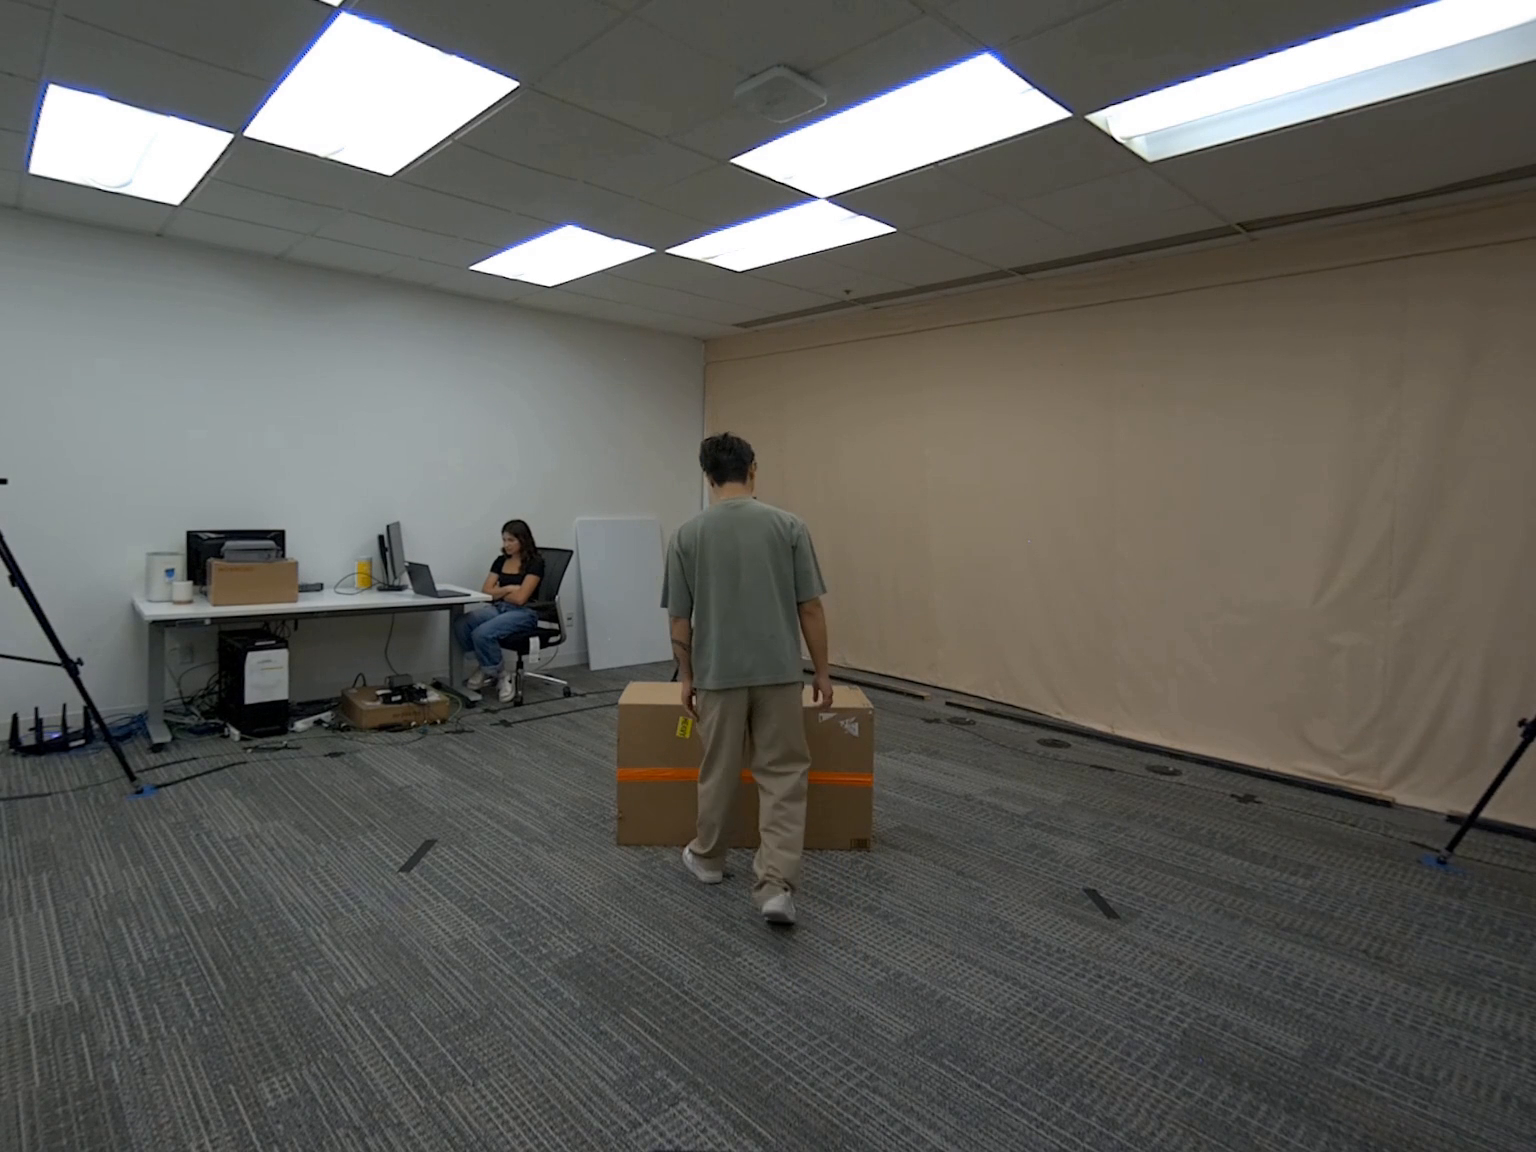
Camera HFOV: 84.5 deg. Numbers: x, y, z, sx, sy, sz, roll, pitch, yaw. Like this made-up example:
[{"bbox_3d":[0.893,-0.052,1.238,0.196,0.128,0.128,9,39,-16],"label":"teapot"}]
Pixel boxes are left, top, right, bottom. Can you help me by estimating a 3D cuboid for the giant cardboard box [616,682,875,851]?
[{"bbox_3d":[-0.107,0.779,3.549,1.025,0.576,0.427,1,3,-1],"label":"giant cardboard box"}]
